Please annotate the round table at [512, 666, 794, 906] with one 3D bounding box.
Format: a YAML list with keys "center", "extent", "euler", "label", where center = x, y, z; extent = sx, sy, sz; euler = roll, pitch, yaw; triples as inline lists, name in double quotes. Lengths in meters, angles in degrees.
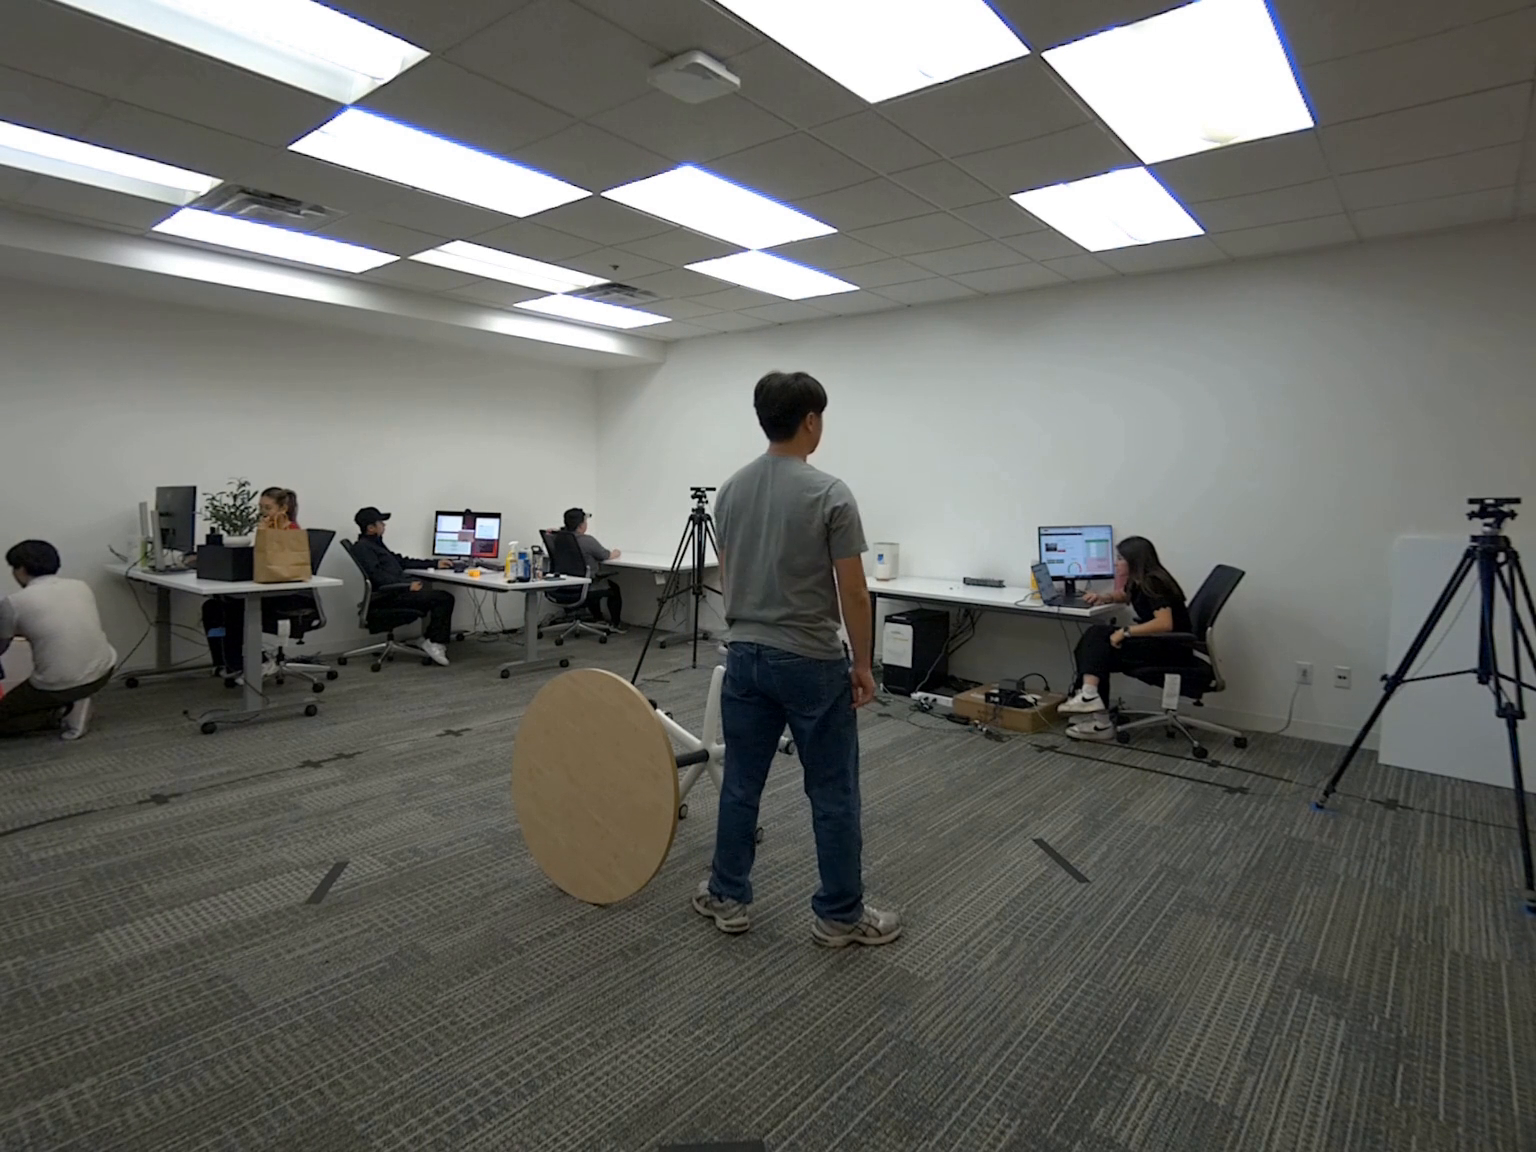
- center: [-0.412, 0.711, 3.189]
  extent: [0.788, 0.765, 0.768]
  euler: [4, -1, 35]
  label: "round table"
